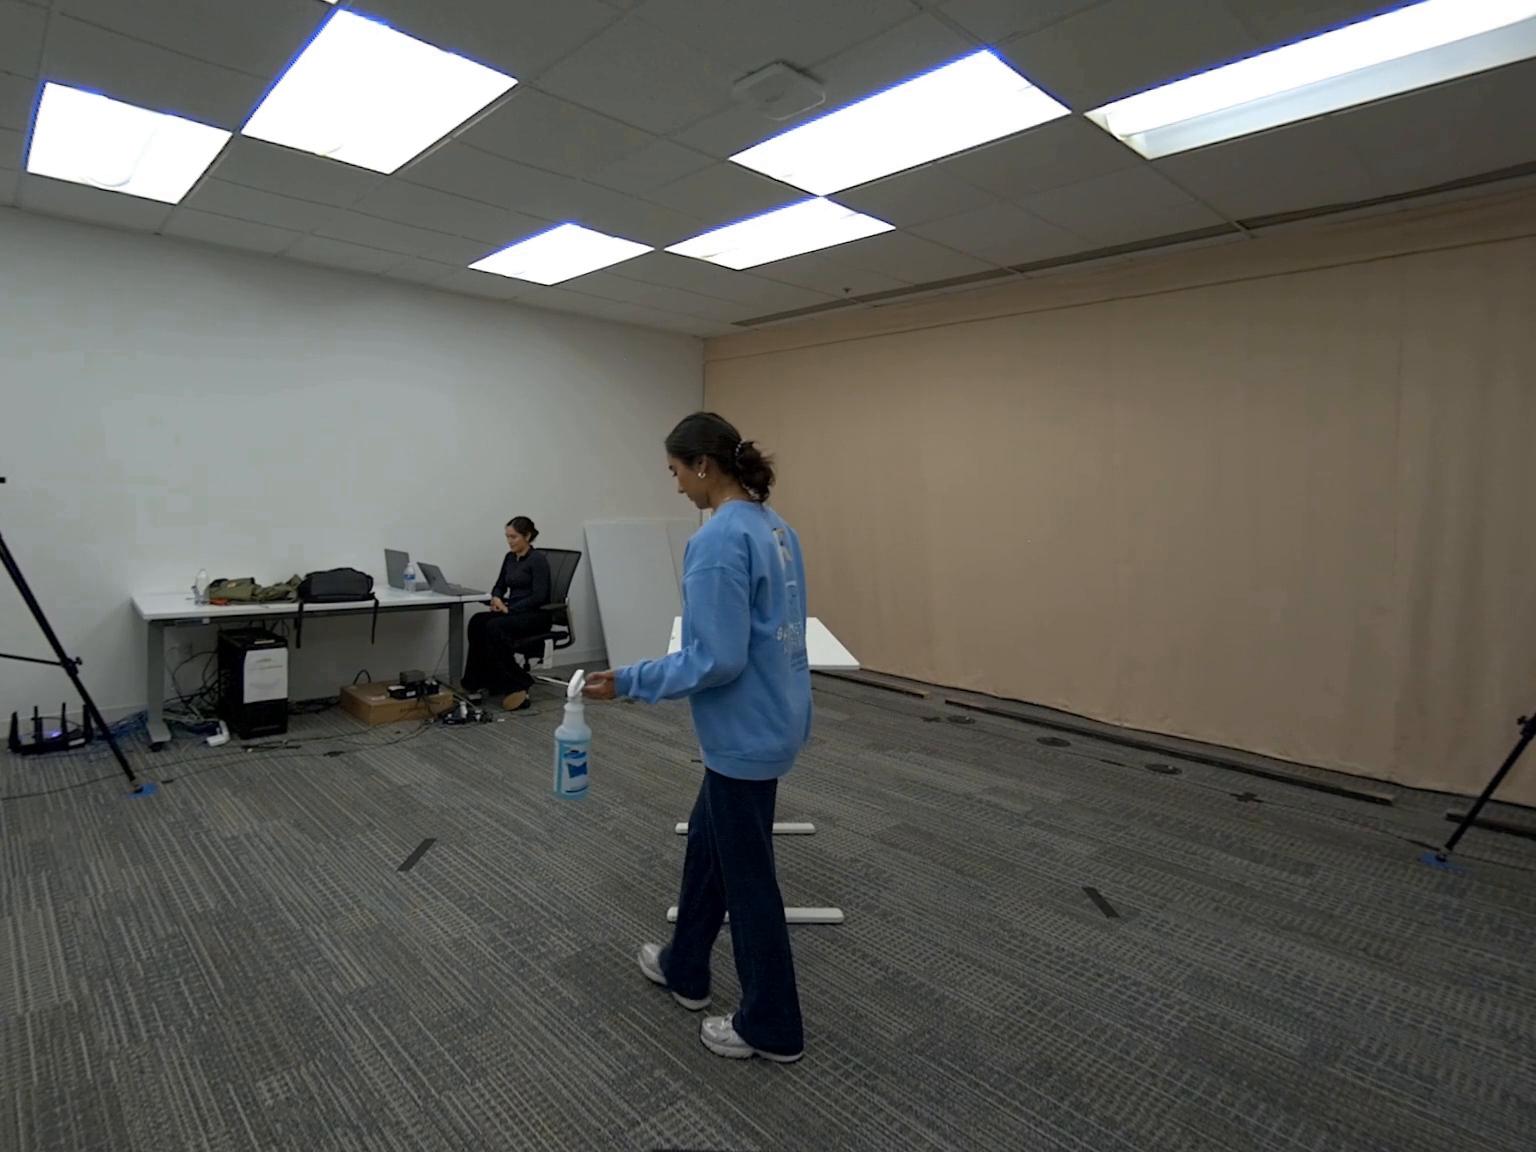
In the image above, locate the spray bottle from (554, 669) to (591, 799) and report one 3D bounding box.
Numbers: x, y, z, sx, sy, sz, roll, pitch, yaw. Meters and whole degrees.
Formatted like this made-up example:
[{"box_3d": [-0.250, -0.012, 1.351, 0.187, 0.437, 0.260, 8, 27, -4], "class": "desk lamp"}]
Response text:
[{"box_3d": [-0.462, 0.386, 2.026, 0.089, 0.295, 0.088, 10, 11, 28], "class": "spray bottle"}]
